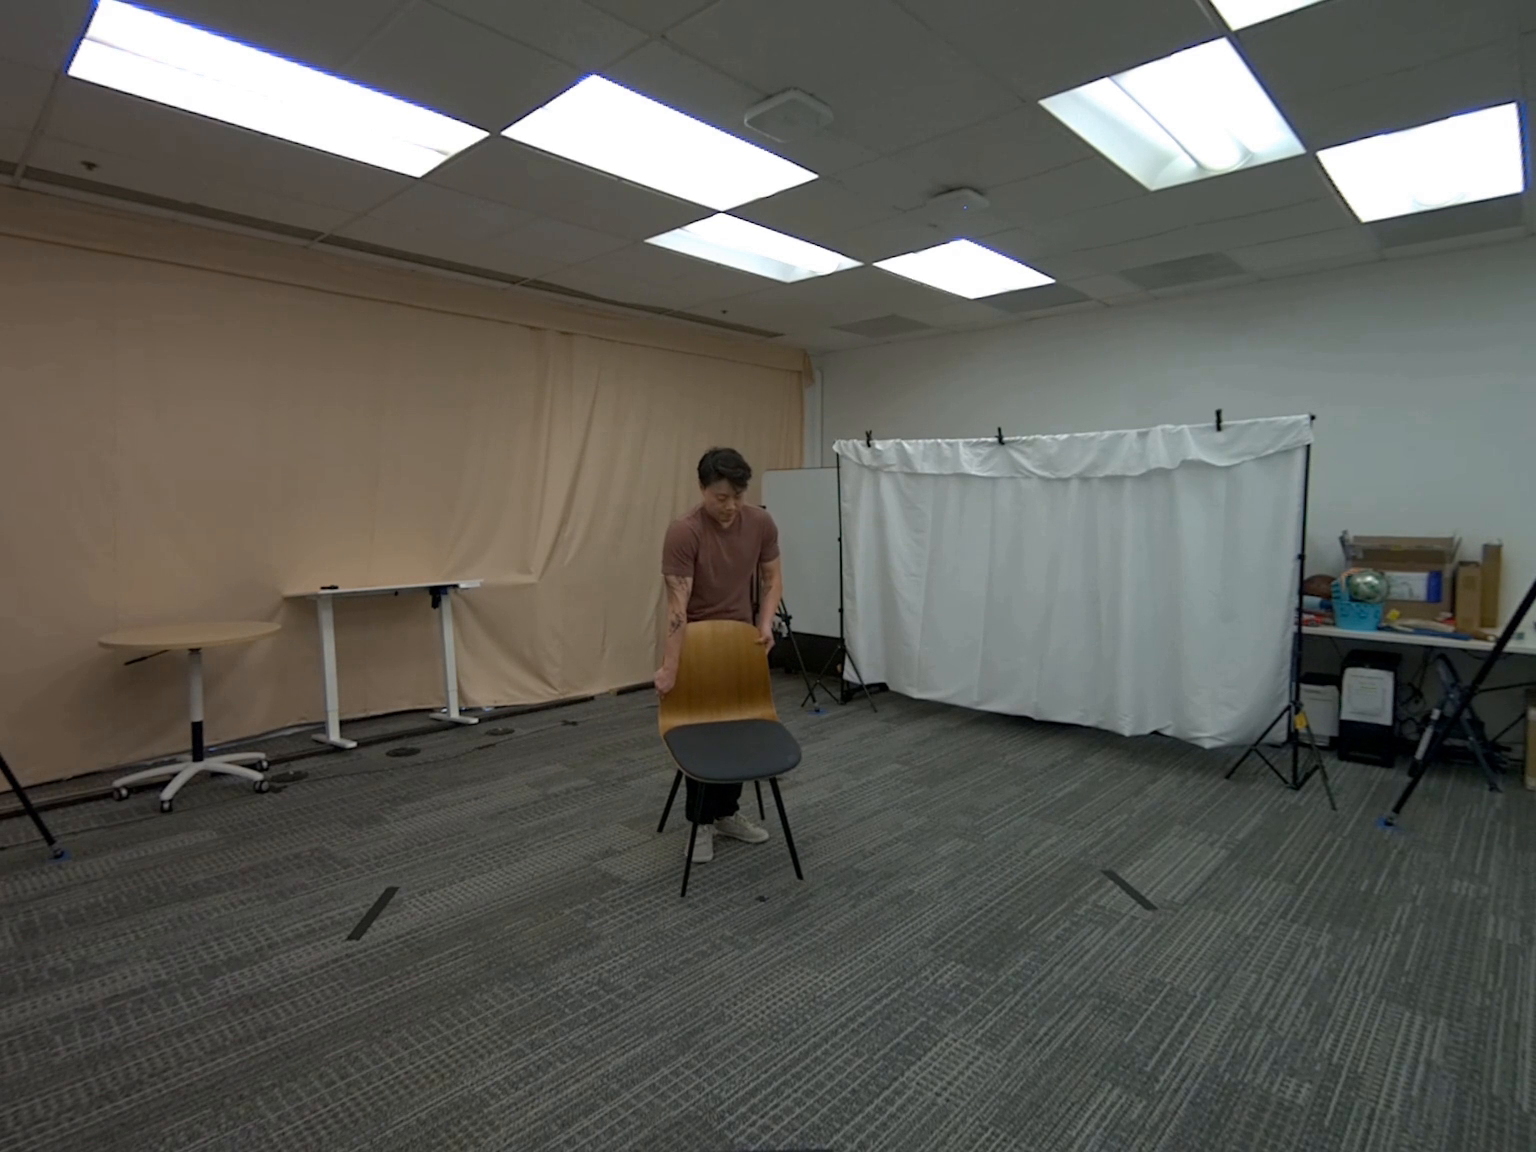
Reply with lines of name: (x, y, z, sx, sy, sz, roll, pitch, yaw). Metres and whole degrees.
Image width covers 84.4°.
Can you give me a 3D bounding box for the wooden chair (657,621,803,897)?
wooden chair: (-0.139, 0.646, 3.102, 0.471, 0.874, 0.534, -1, 7, -16)
